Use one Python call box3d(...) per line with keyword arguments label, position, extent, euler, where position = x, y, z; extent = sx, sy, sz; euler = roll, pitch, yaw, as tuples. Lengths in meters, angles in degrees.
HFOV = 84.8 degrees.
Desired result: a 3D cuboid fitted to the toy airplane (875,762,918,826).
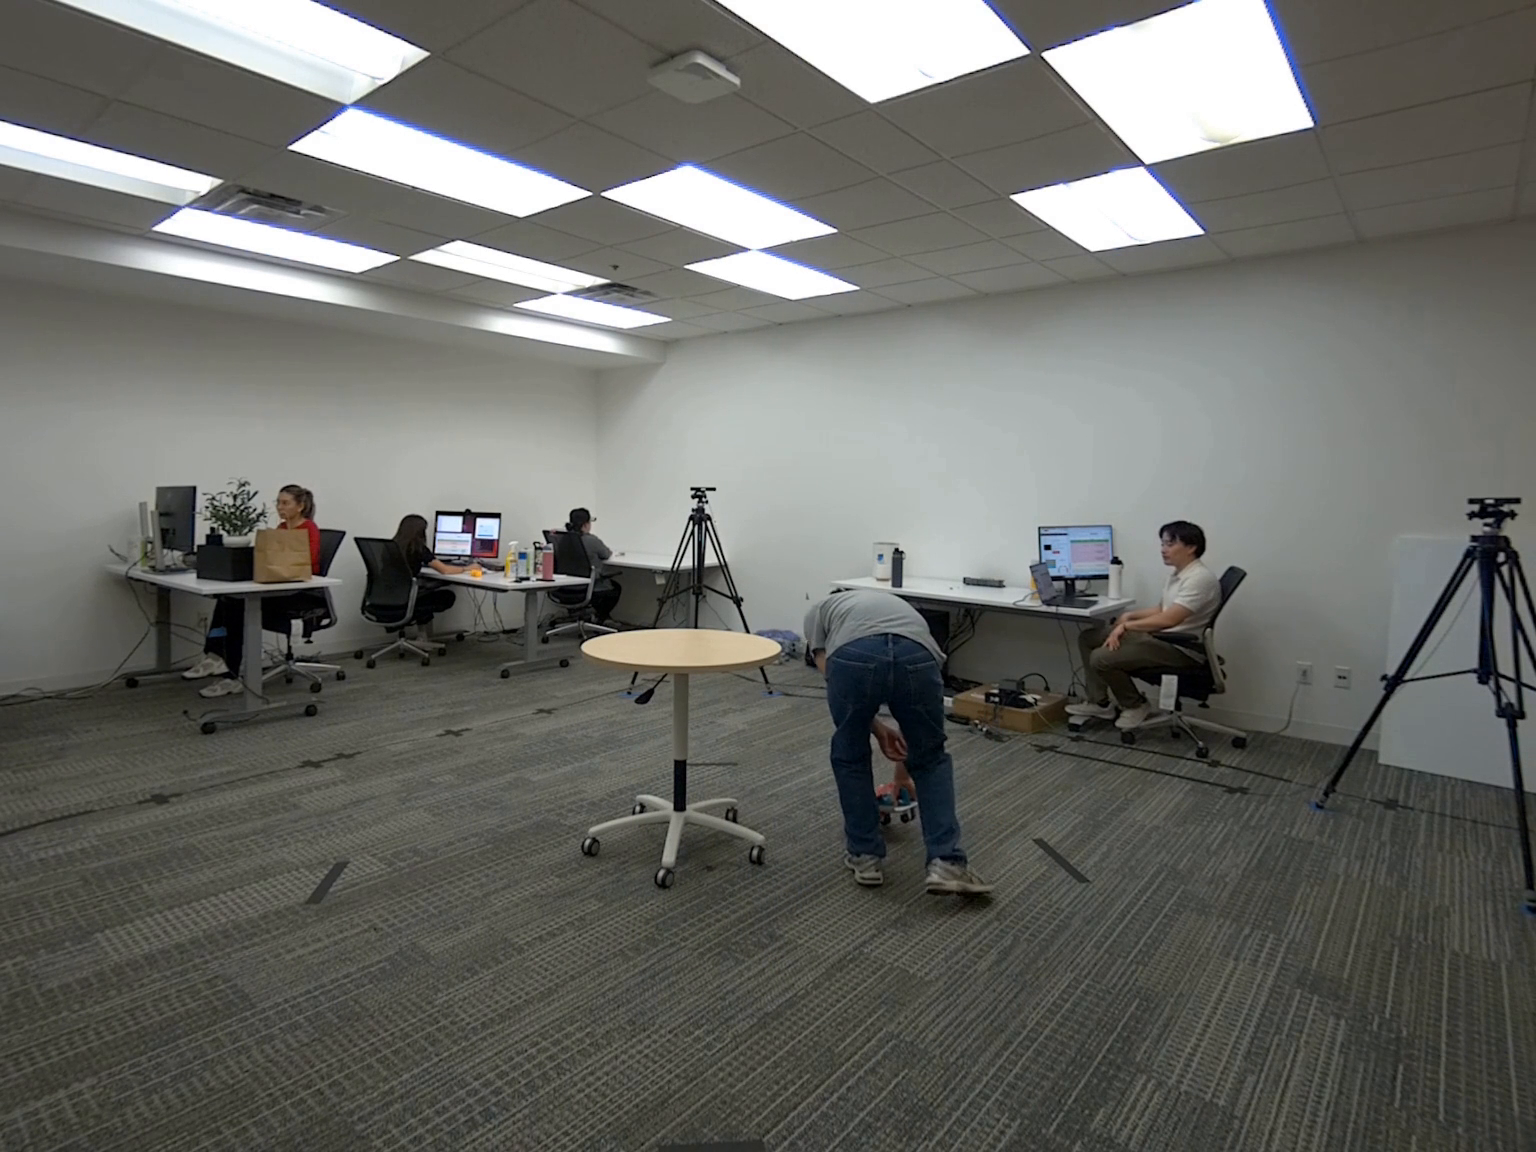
box3d(label="toy airplane", position=(0.493, 0.936, 3.484), extent=(0.262, 0.159, 0.243), euler=(-24, -14, 23))
